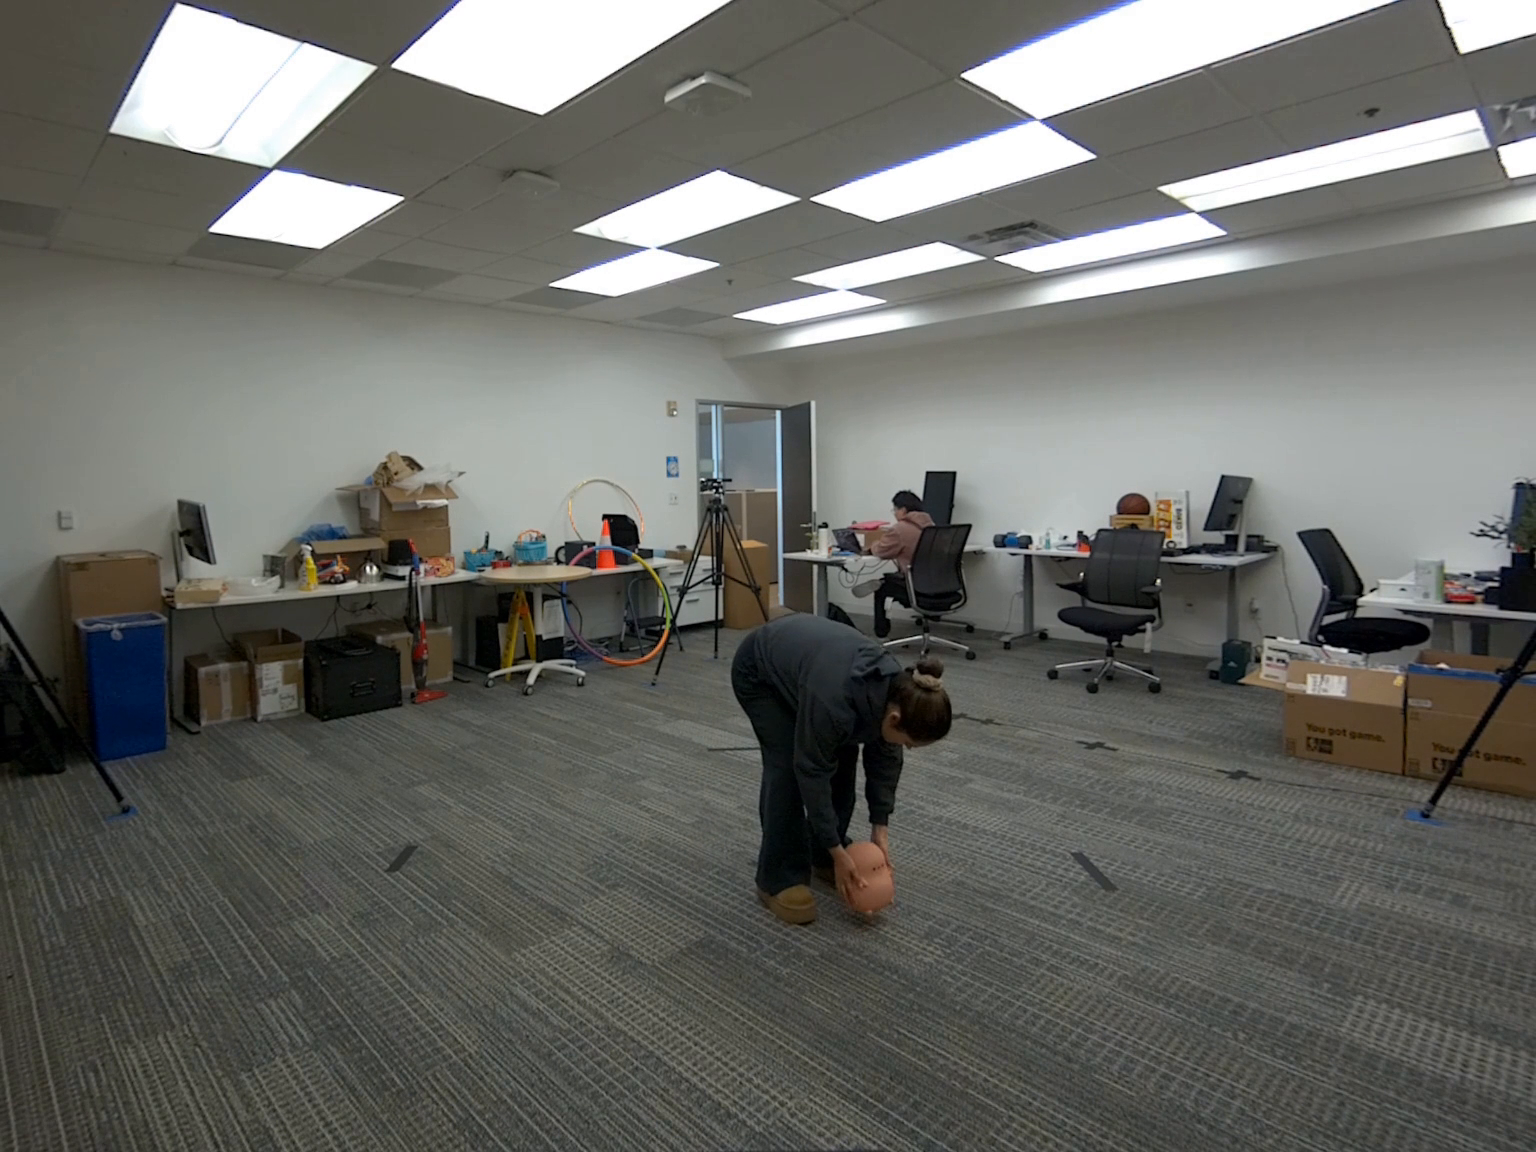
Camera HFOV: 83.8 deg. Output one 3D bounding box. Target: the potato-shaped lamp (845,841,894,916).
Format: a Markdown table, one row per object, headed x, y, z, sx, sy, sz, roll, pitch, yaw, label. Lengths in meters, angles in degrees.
| x | y | z | sx | sy | sz | roll | pitch | yaw | label |
| --- | --- | --- | --- | --- | --- | --- | --- | --- | --- |
| 0.303 | 0.922 | 2.678 | 0.160 | 0.197 | 0.177 | -4 | 8 | -36 | potato-shaped lamp |
